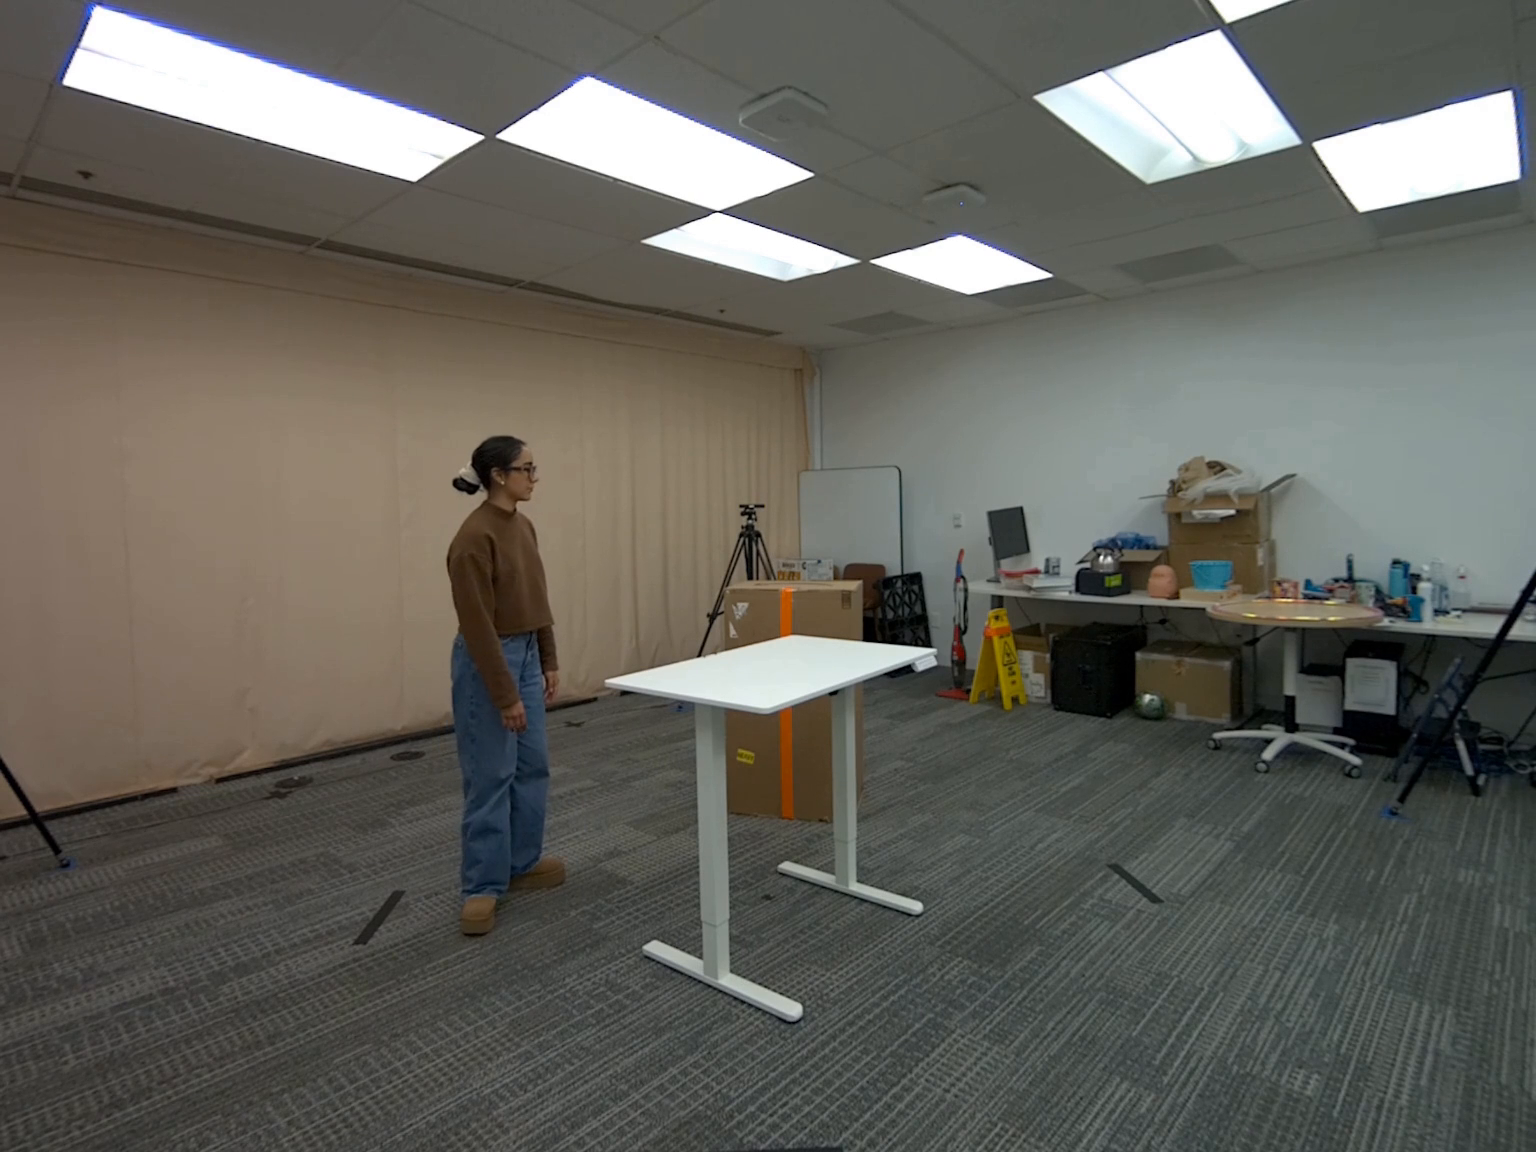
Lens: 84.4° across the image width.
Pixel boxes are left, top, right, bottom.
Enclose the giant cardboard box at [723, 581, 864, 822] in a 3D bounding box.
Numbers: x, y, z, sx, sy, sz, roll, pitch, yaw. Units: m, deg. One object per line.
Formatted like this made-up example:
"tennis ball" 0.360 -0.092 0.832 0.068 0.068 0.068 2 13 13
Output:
"giant cardboard box" 0.134 0.550 3.911 0.587 1.024 0.420 0 3 15
